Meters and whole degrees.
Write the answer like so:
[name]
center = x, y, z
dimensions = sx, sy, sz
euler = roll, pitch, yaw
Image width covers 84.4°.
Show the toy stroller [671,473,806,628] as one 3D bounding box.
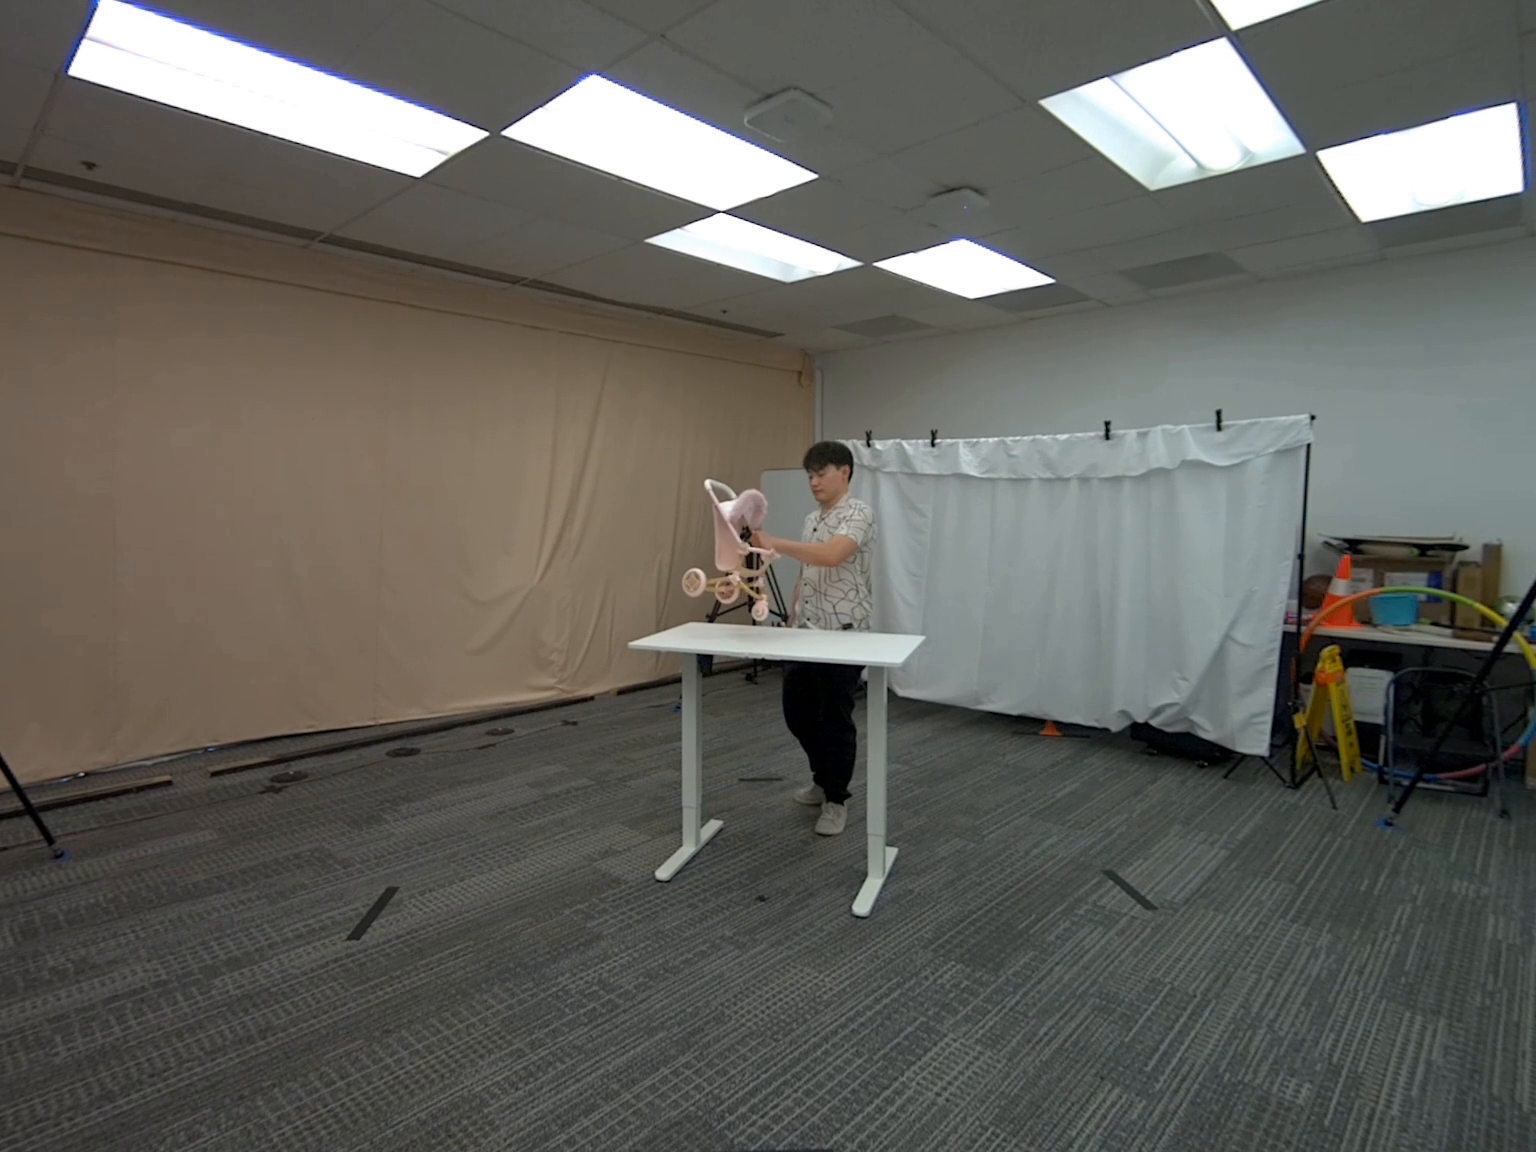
[toy stroller]
center = -0.116, -0.104, 3.302
dimensions = 0.352, 0.536, 0.272
euler = 5, -7, 36
